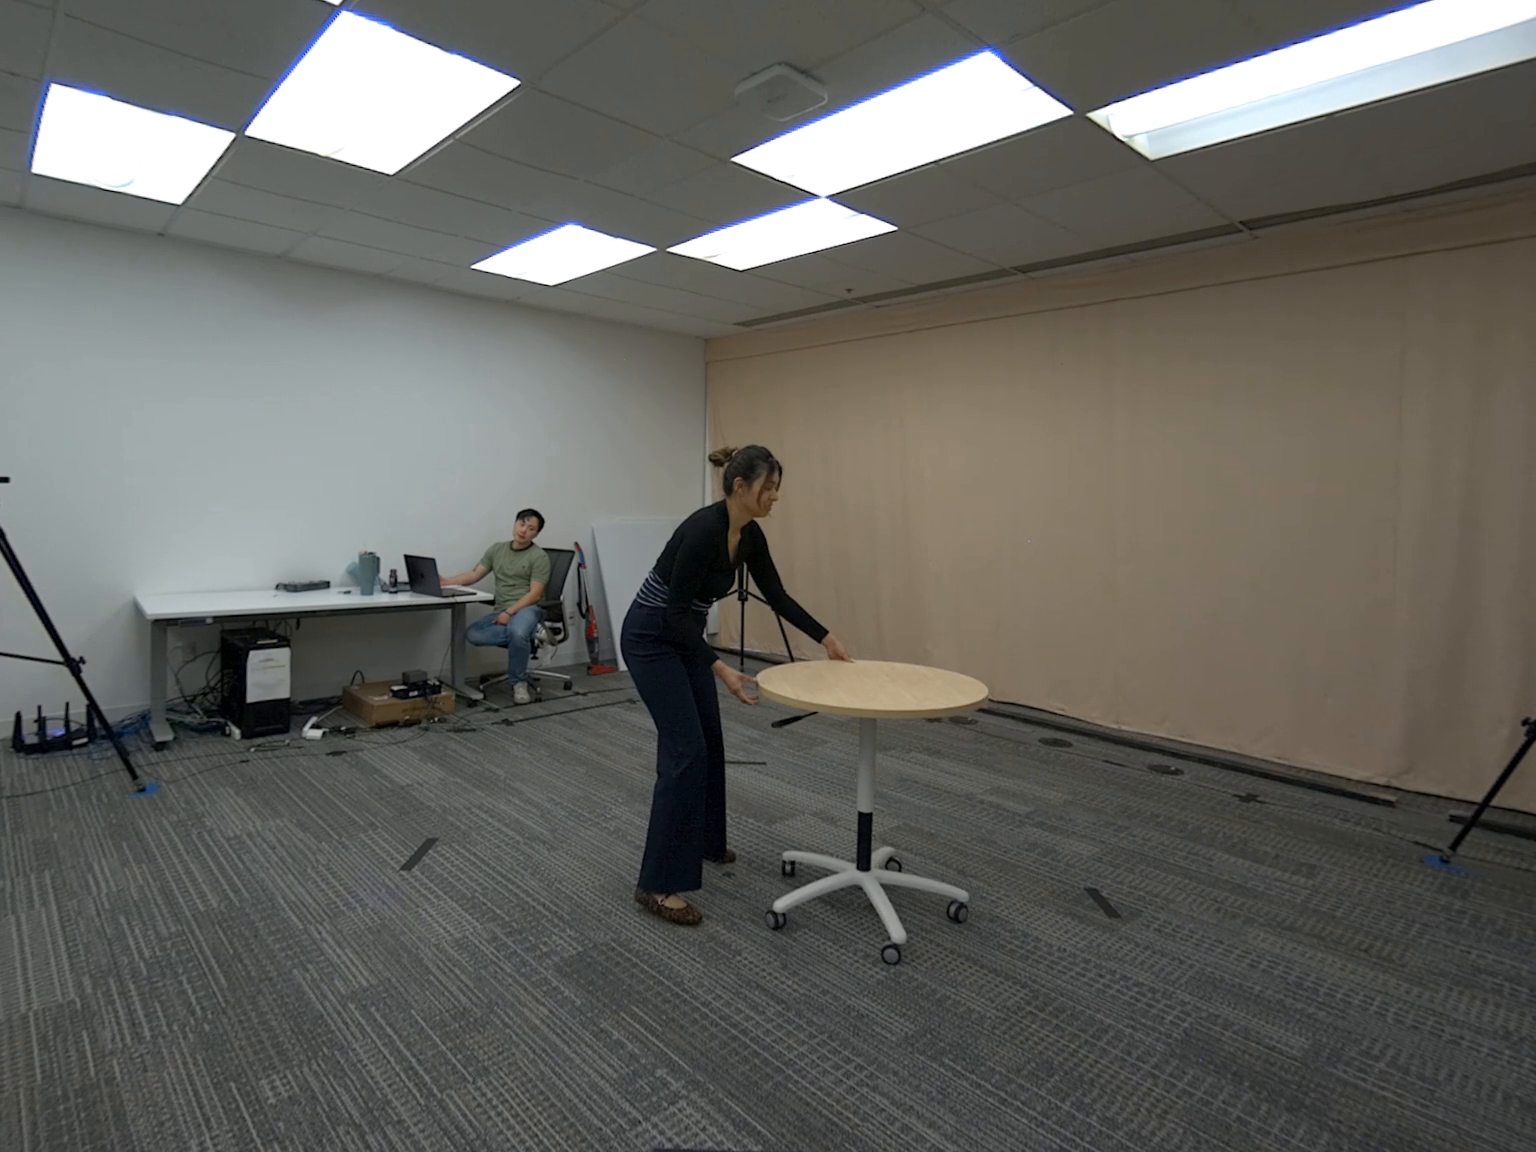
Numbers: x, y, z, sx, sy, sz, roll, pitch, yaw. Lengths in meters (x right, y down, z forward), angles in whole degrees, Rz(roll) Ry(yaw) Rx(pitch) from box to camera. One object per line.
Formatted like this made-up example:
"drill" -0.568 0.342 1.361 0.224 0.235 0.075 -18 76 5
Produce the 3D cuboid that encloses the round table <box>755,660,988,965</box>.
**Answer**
"round table" 0.314 0.746 2.849 0.763 0.792 0.766 1 4 -1
